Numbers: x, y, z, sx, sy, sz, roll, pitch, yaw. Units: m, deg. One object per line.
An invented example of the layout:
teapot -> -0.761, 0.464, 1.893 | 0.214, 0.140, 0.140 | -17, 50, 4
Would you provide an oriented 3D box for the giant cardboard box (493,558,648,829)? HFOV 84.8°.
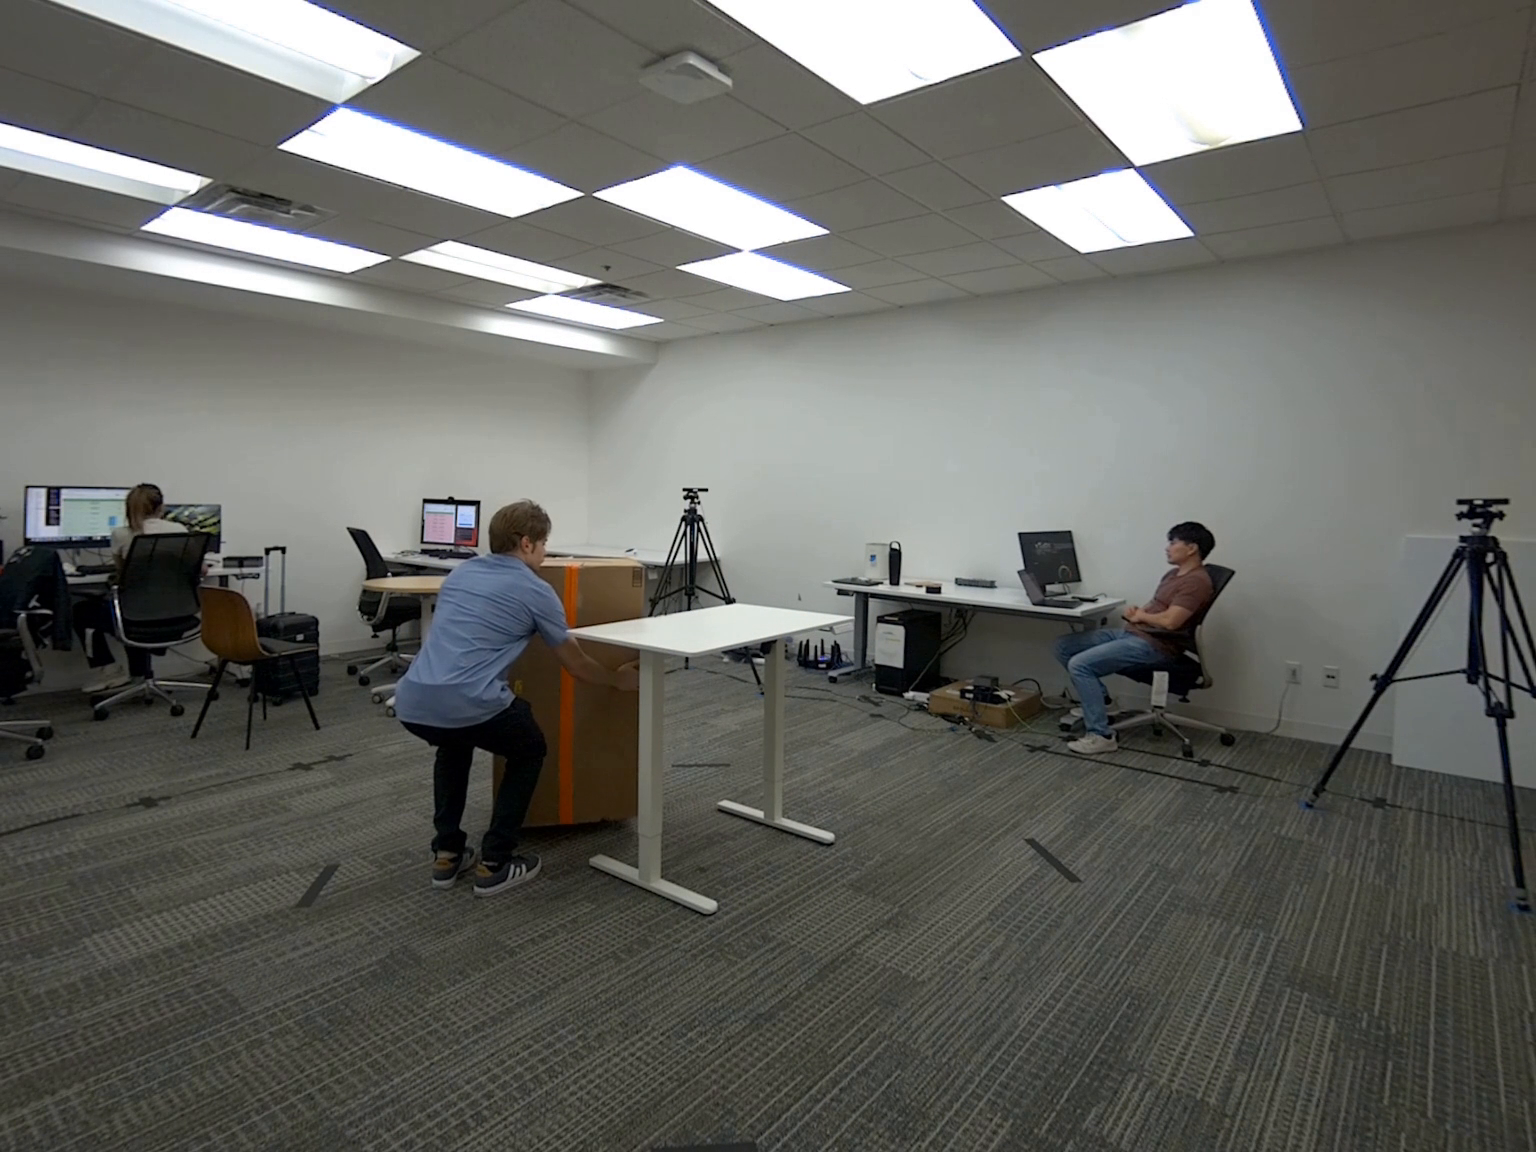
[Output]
giant cardboard box -> -0.853, 0.447, 3.533 | 0.568, 1.023, 0.435 | 1, 3, -17
